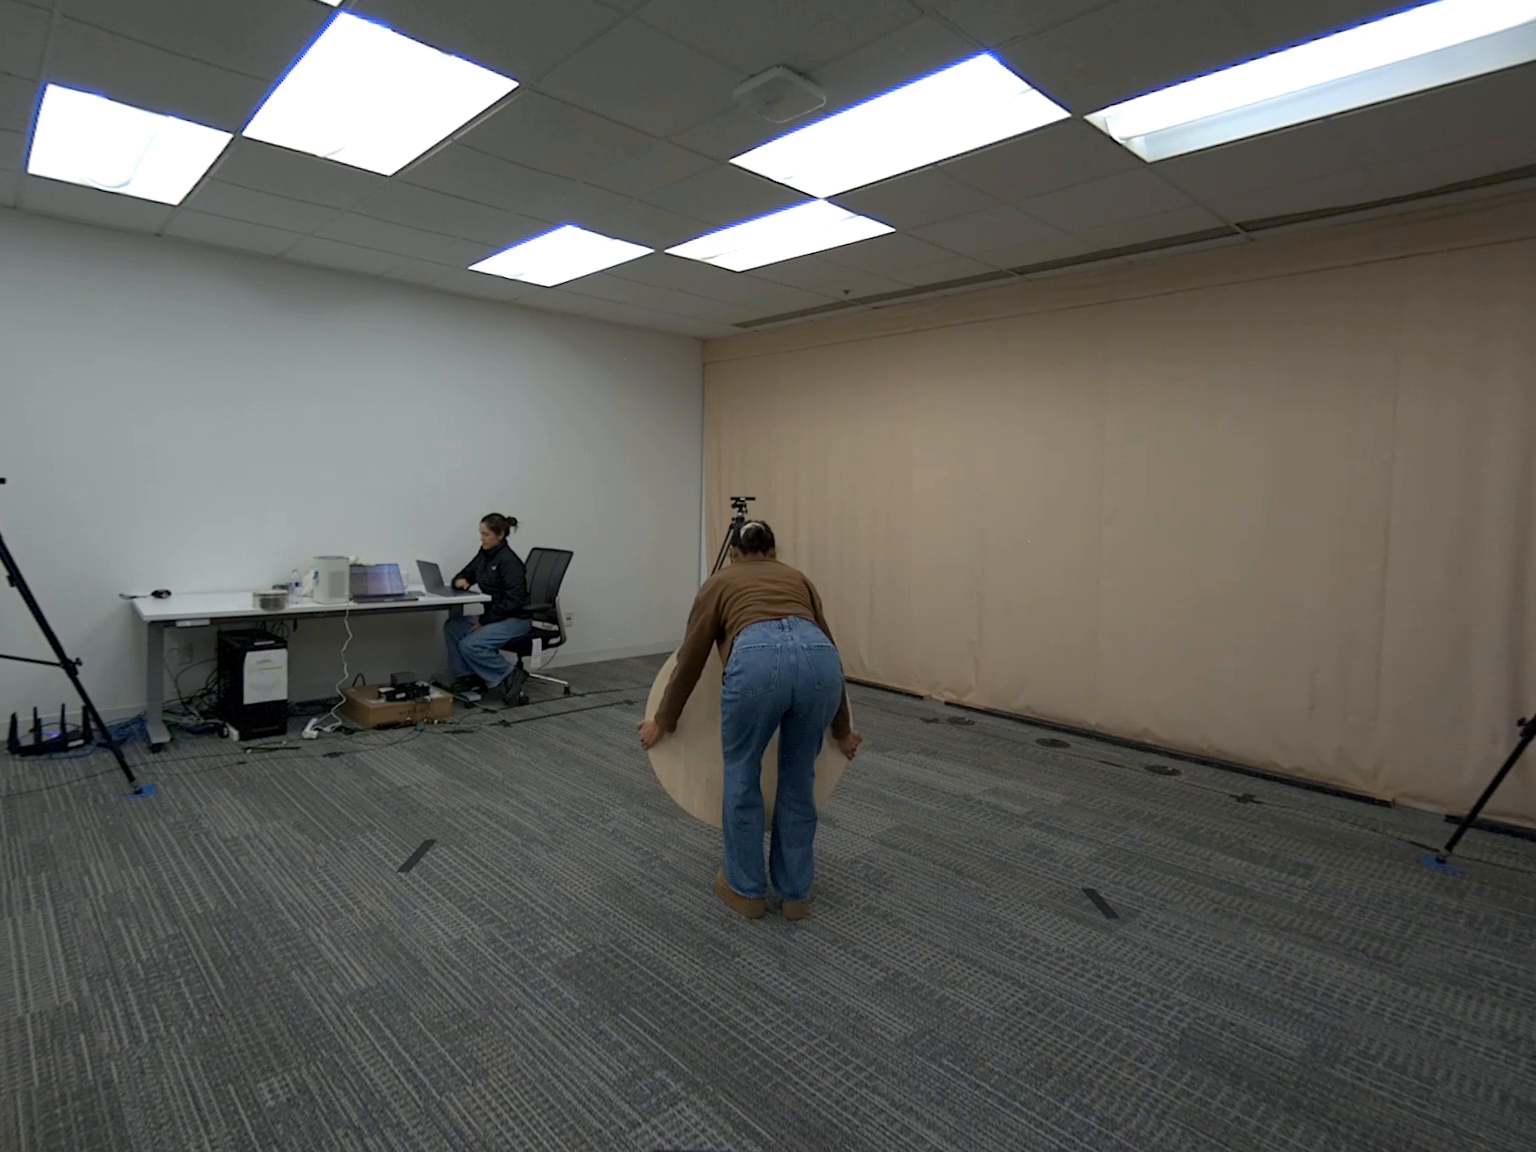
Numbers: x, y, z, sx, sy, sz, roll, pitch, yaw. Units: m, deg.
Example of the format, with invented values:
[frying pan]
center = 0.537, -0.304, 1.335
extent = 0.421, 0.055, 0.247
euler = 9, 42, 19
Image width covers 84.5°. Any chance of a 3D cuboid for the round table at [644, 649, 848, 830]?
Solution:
[round table]
center = -0.078, 0.650, 3.473
extent = 0.764, 0.773, 0.784
euler = 1, -16, 0
